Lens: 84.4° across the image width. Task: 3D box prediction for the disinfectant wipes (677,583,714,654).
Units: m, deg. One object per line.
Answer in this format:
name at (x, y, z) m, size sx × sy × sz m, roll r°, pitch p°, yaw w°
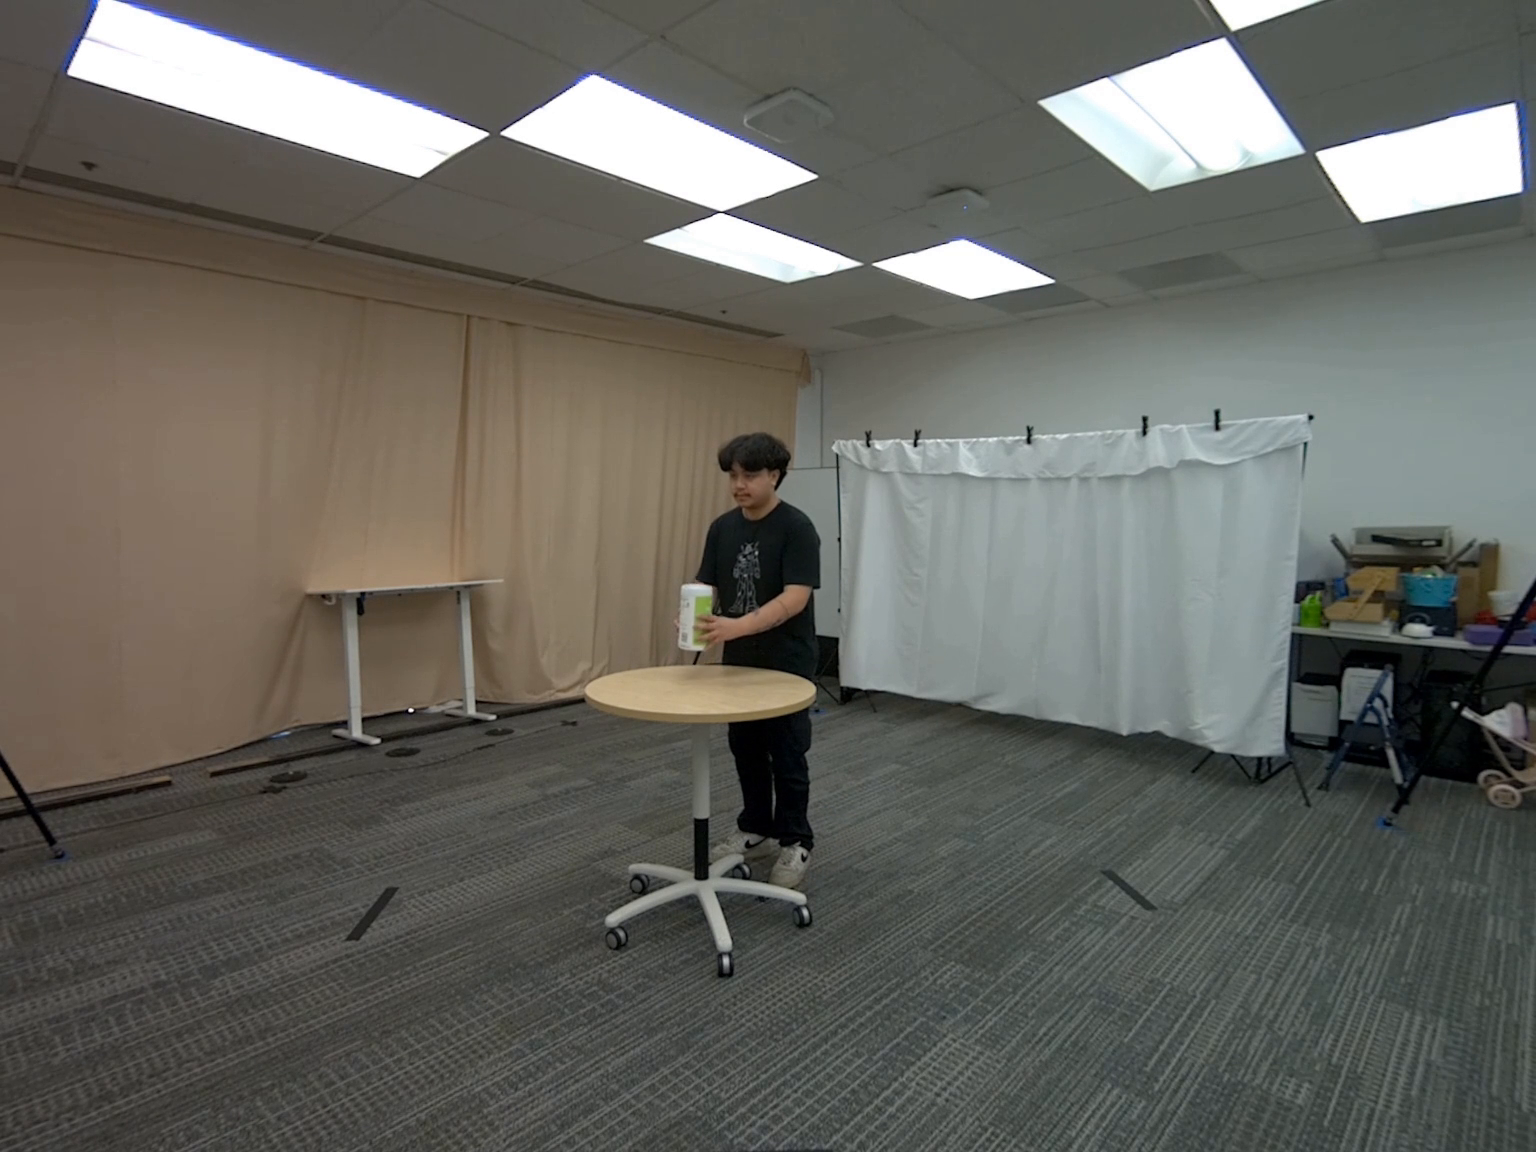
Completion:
disinfectant wipes at (-0.248, 0.143, 2.875) m, size 0.117 × 0.217 × 0.118 m, roll 3°, pitch 6°, yaw -2°
